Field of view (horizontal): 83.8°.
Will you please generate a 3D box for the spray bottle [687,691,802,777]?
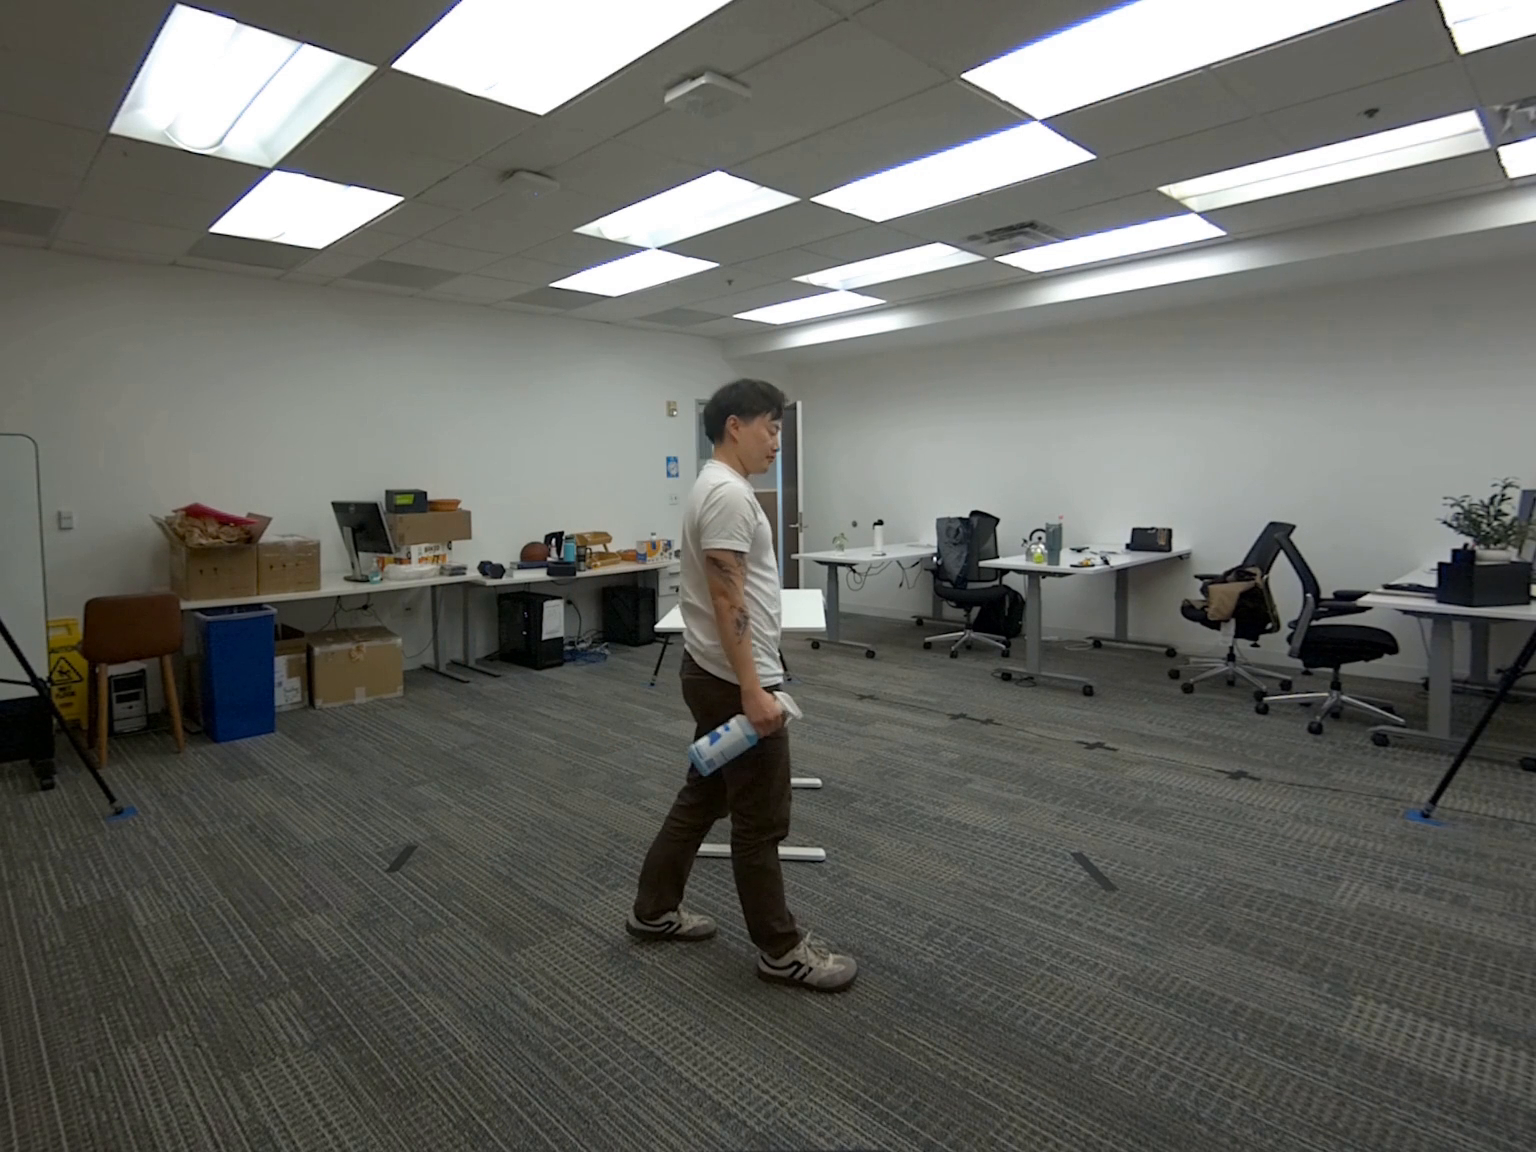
[{"bbox_3d":[-0.056,0.397,2.186,0.297,0.084,0.093,-33,50,-6],"label":"spray bottle"}]
